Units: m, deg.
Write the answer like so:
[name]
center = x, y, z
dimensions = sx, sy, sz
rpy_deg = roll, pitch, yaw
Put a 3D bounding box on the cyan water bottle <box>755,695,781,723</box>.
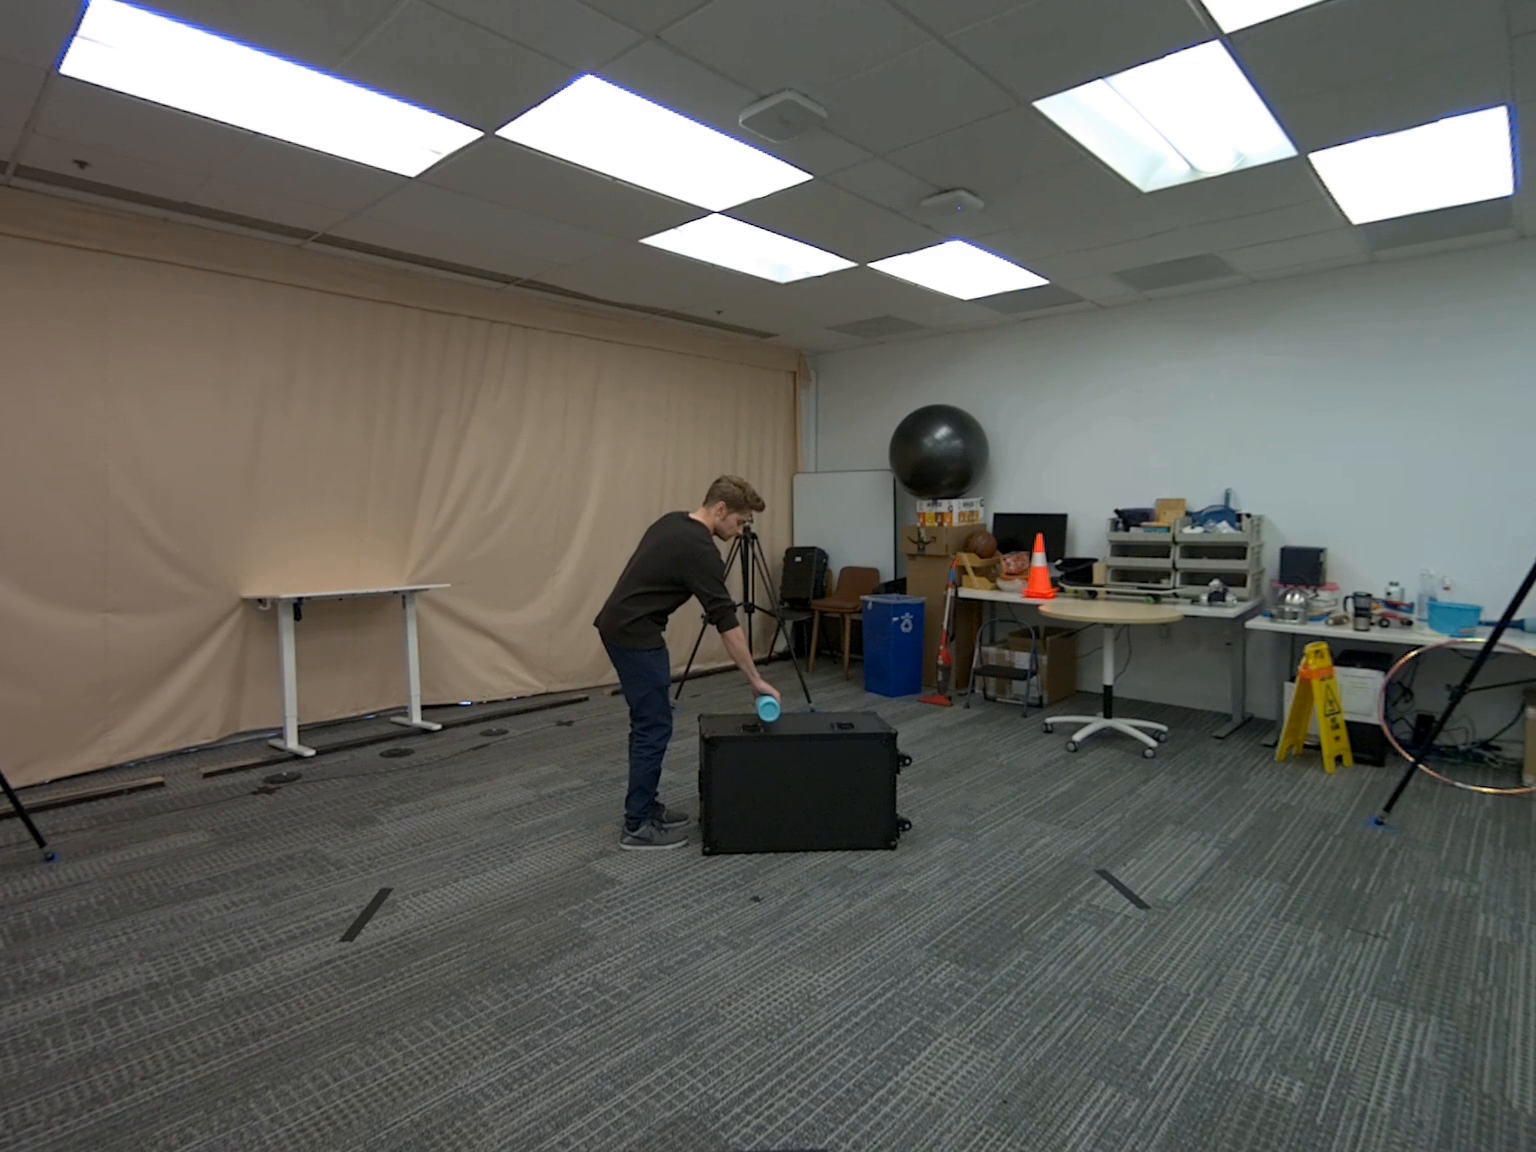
[cyan water bottle]
center = -0.007, 0.530, 3.545
dimensions = 0.092, 0.092, 0.286
rpy_deg = -1, 9, -6
